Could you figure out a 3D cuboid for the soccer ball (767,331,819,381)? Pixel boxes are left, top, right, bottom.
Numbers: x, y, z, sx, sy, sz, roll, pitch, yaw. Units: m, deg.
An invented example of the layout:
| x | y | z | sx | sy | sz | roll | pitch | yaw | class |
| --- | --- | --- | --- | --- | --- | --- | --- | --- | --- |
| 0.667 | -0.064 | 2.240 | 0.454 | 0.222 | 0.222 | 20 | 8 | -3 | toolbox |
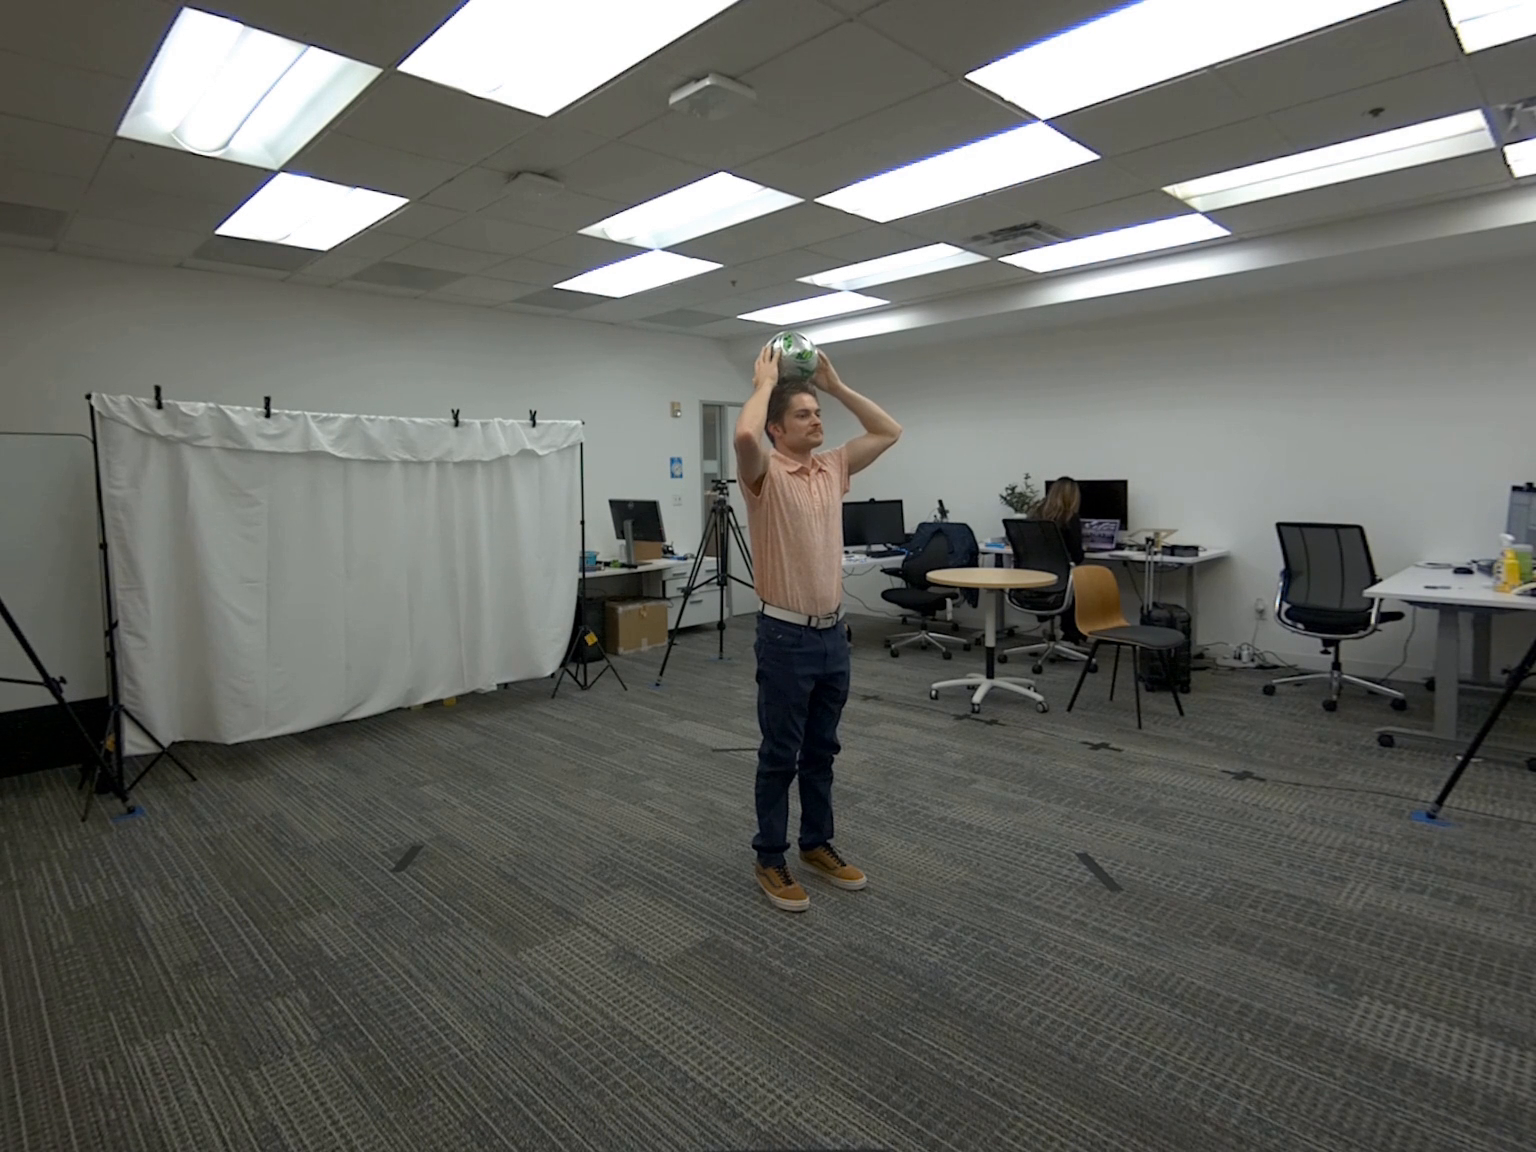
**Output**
| x | y | z | sx | sy | sz | roll | pitch | yaw | class |
| --- | --- | --- | --- | --- | --- | --- | --- | --- | --- |
| 0.080 | -0.726 | 2.869 | 0.187 | 0.187 | 0.188 | -1 | 5 | -2 | soccer ball |
